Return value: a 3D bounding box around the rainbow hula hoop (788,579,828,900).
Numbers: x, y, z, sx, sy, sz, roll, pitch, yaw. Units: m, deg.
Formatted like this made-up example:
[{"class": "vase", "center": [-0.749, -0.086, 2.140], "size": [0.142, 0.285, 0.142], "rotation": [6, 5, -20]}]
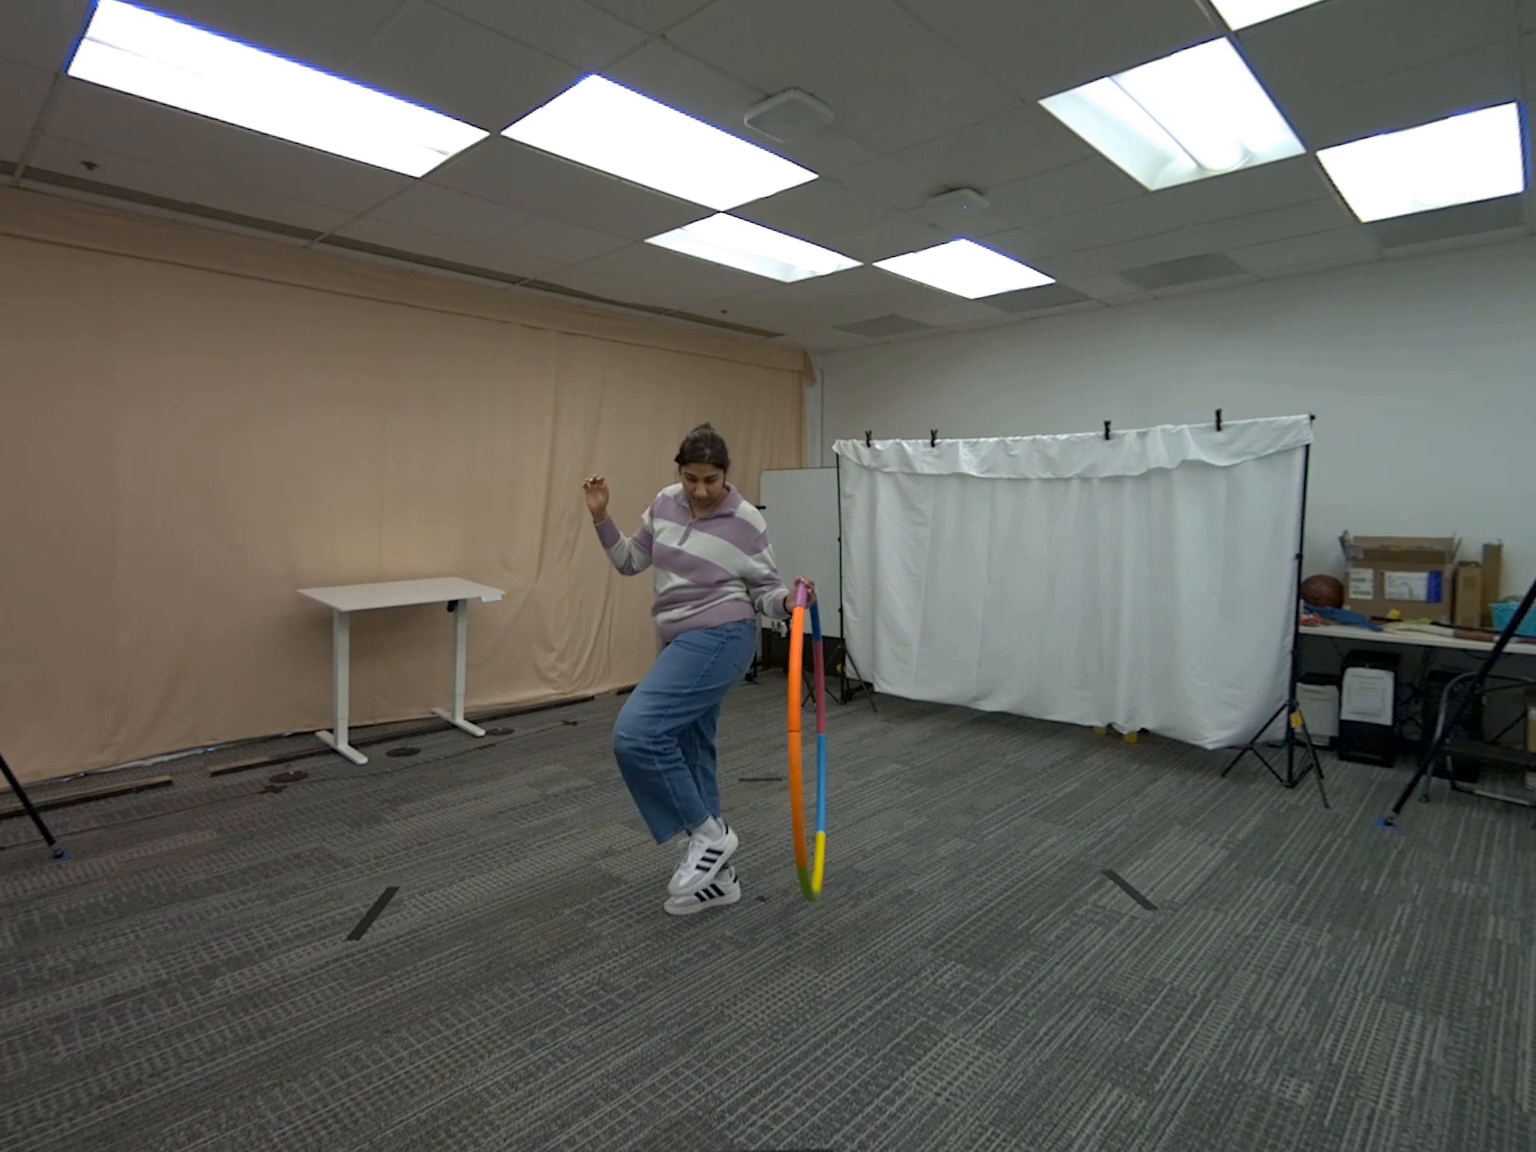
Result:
[{"class": "rainbow hula hoop", "center": [0.135, 0.501, 2.647], "size": [0.052, 0.983, 0.977], "rotation": [-1, 3, 8]}]
